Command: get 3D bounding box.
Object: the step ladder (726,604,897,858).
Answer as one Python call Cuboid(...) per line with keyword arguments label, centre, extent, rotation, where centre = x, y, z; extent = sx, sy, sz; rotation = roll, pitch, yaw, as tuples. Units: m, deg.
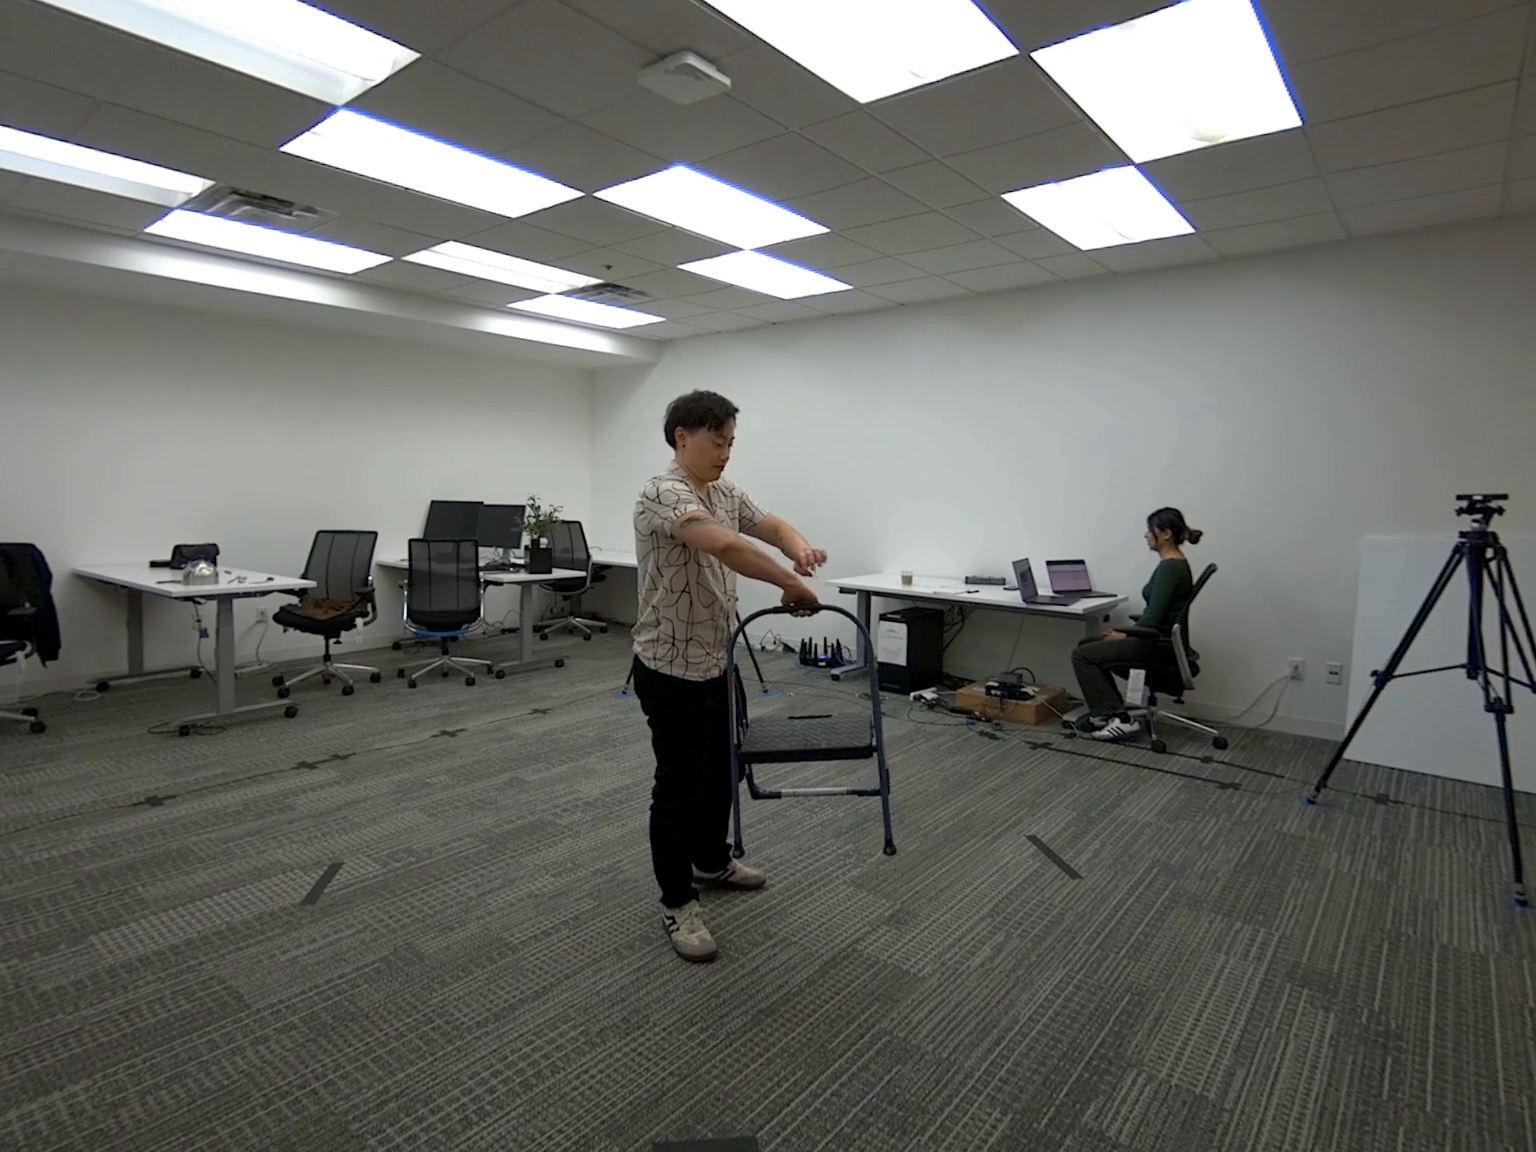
Cuboid(label="step ladder", centre=(0.098, 0.396, 2.333), extent=(0.435, 0.600, 0.349), rotation=(-5, 10, 9))
